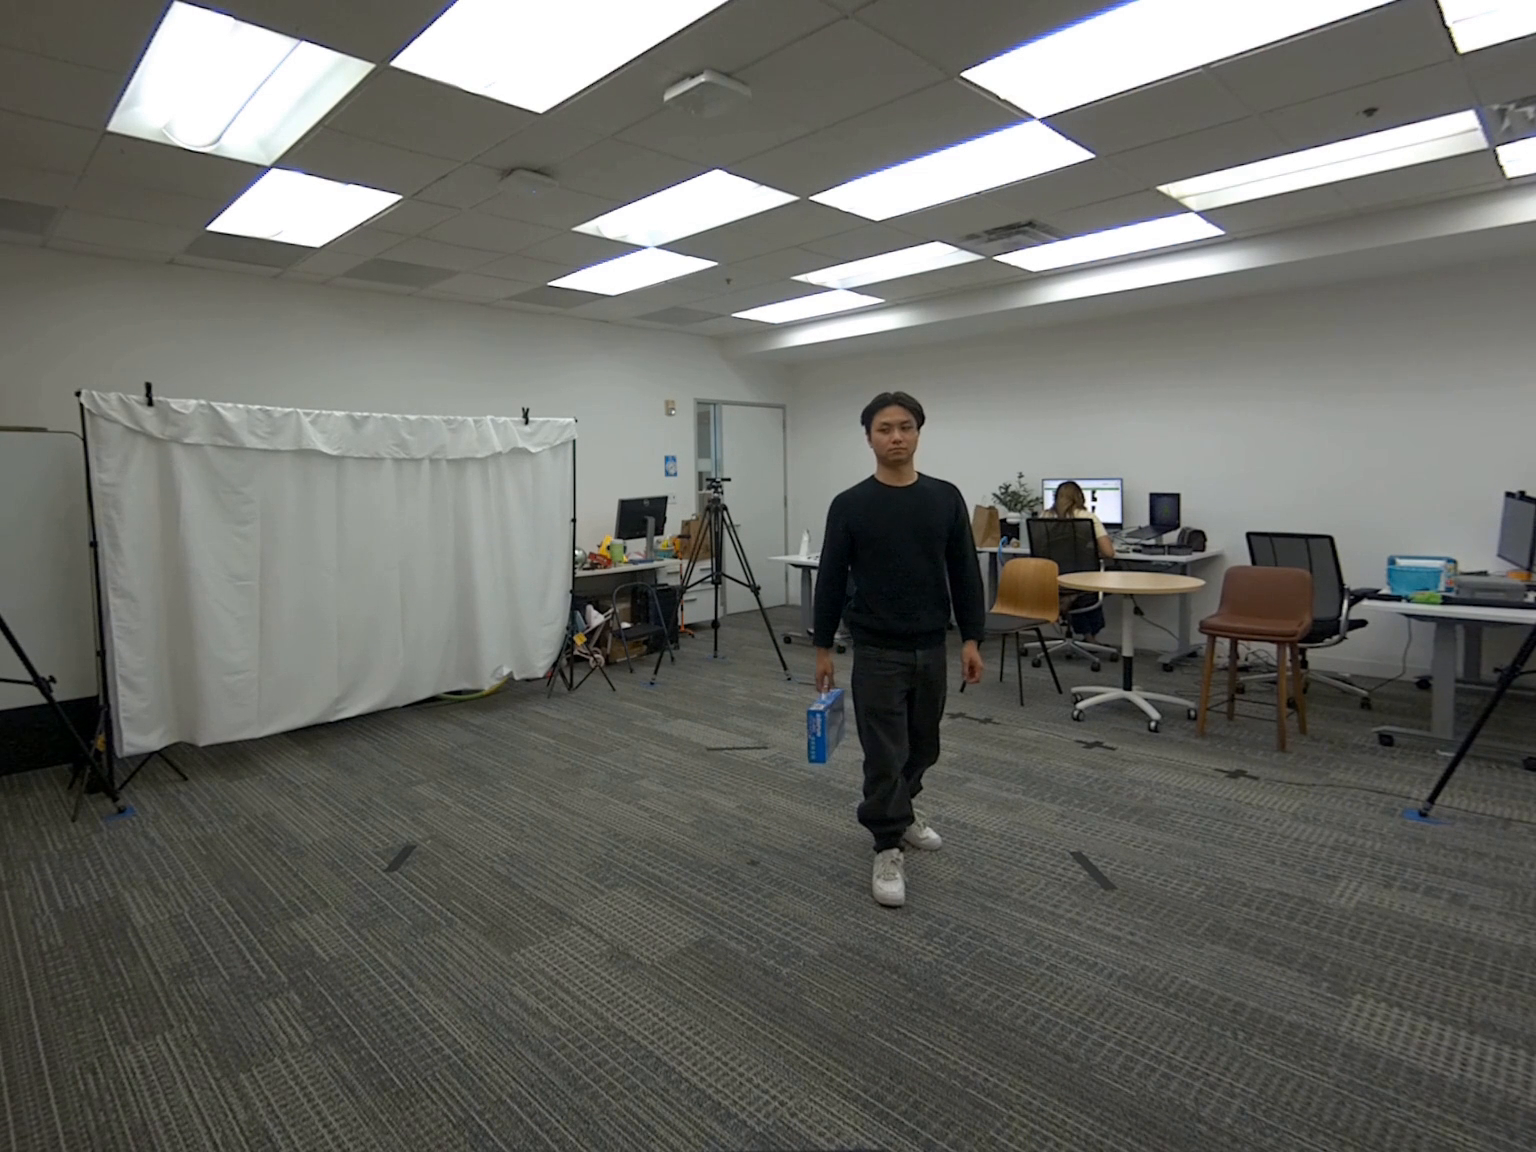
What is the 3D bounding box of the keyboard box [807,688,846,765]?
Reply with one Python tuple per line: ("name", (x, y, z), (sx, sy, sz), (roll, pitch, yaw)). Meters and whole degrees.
("keyboard box", (0.209, 0.509, 2.973), (0.060, 0.176, 0.431), (-2, 2, 13))
